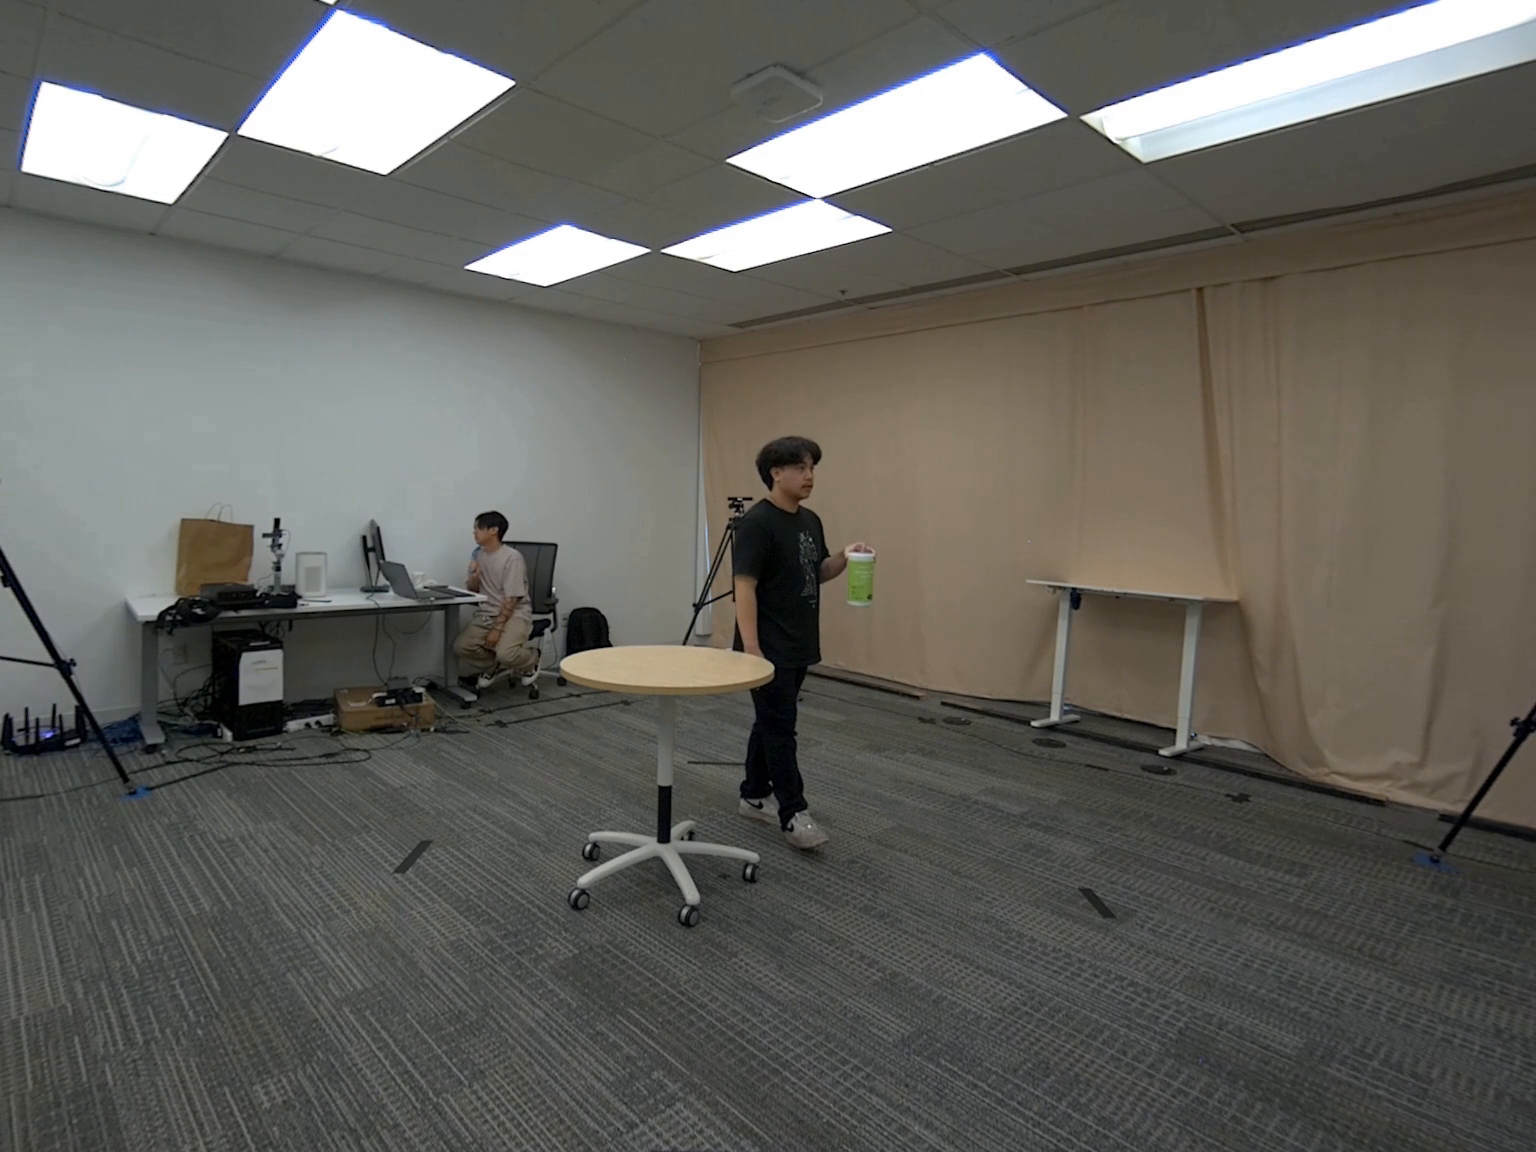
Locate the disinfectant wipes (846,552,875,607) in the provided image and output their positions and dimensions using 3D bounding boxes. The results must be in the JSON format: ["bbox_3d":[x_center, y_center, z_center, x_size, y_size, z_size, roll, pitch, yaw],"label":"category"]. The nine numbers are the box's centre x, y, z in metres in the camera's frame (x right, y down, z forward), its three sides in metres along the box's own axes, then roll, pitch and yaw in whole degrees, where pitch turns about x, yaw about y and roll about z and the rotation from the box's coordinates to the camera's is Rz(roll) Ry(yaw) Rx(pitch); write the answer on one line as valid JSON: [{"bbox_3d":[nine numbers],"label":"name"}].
[{"bbox_3d":[0.357,0.010,3.456,0.118,0.216,0.118,1,9,-2],"label":"disinfectant wipes"}]
